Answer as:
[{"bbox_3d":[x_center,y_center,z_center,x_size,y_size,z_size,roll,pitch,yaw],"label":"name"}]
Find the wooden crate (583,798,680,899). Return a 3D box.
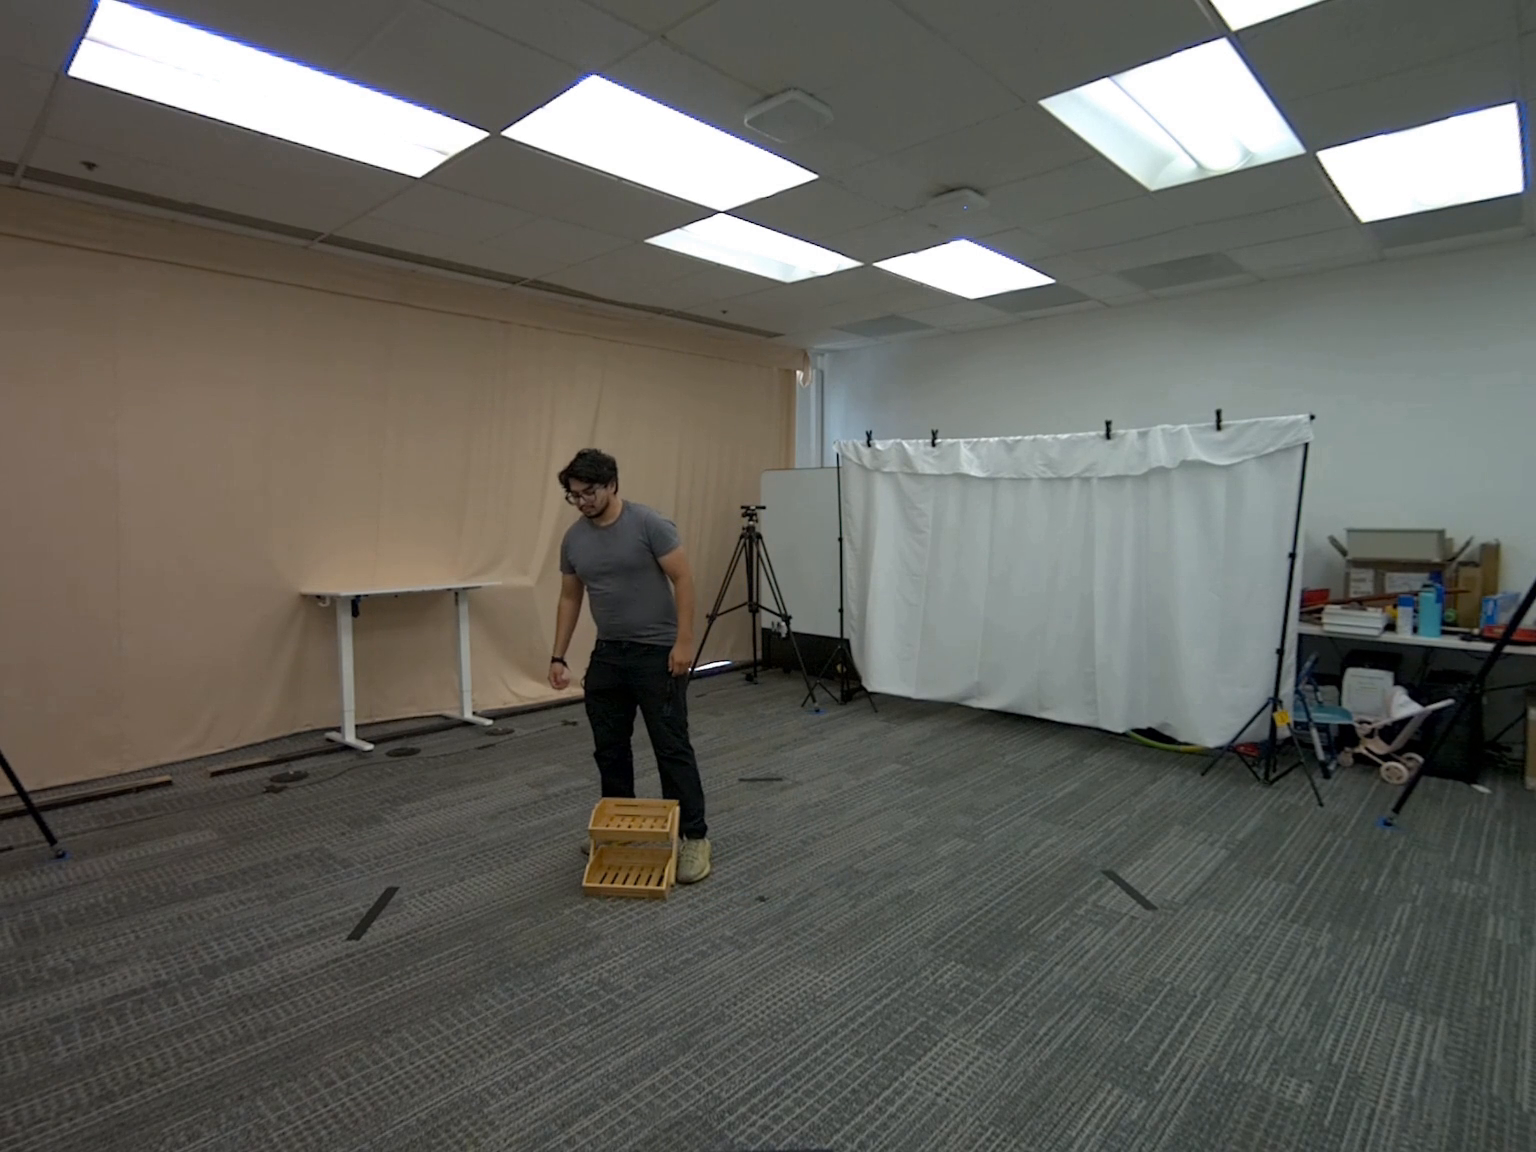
[{"bbox_3d":[-0.506,1.014,3.117,0.326,0.272,0.301,-1,4,5],"label":"wooden crate"}]
